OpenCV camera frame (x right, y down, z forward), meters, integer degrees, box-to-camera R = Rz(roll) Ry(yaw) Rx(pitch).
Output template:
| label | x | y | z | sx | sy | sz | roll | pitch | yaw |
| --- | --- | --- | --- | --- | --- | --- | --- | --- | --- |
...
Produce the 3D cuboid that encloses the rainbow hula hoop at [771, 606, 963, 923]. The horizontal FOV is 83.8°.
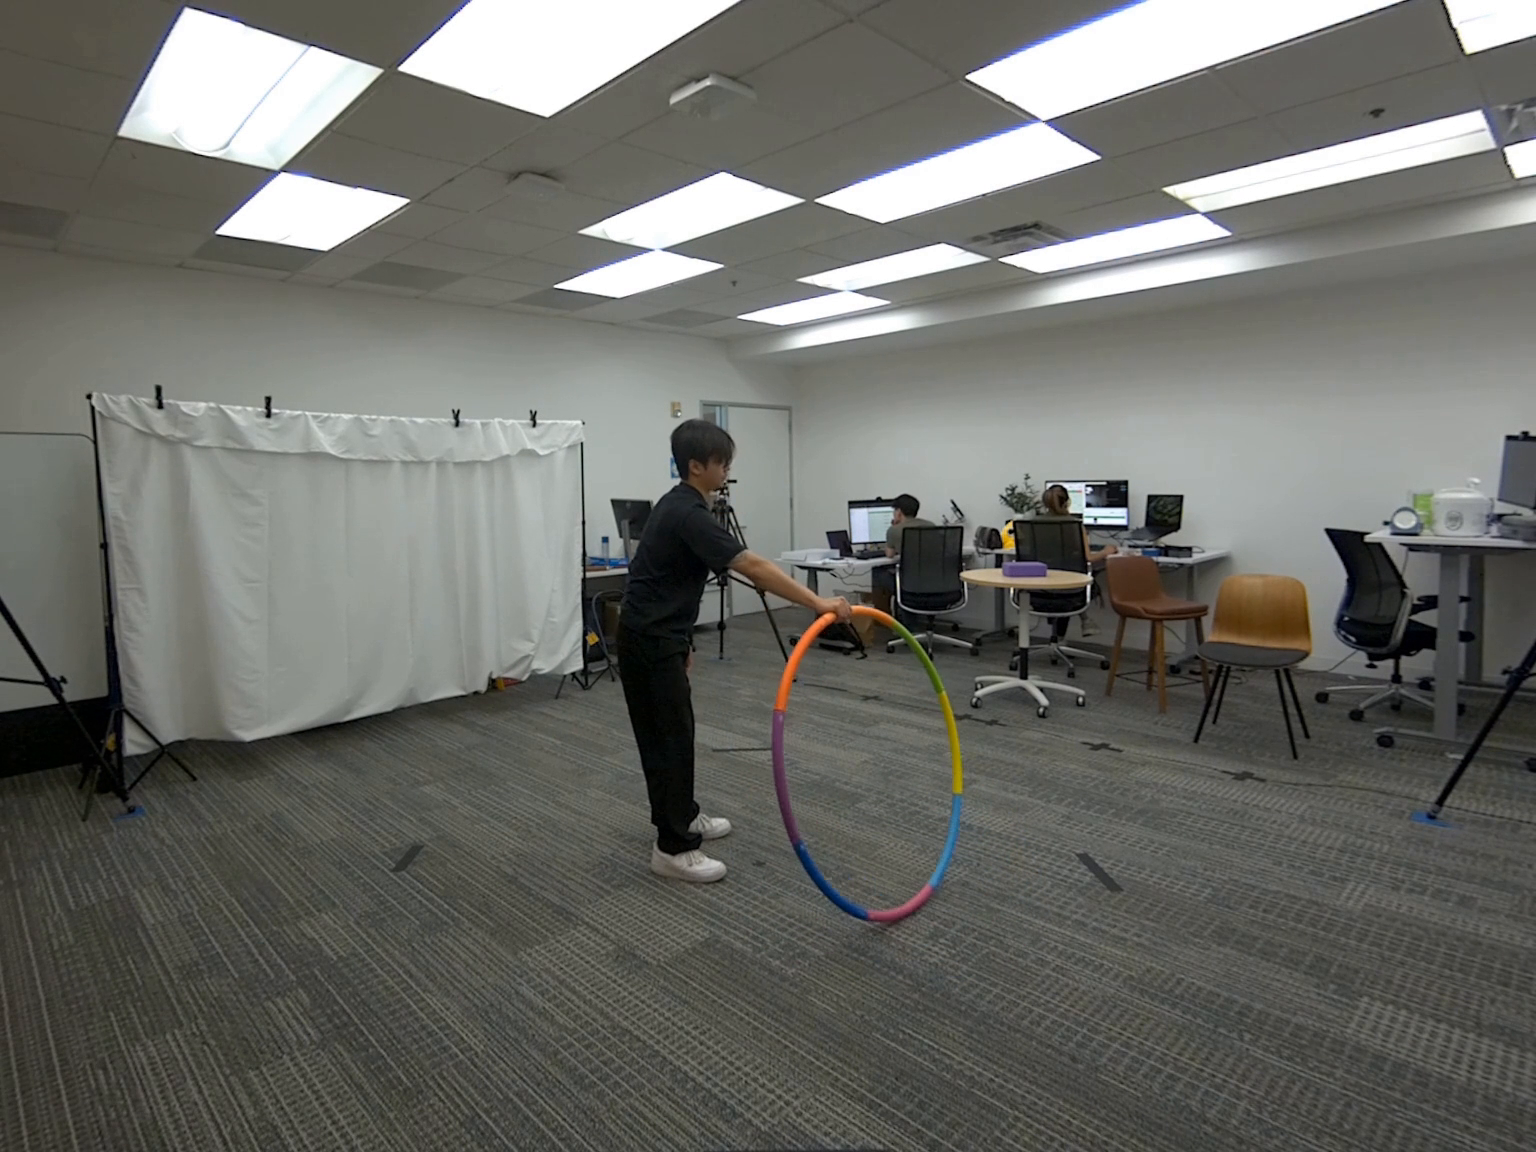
| label | x | y | z | sx | sy | sz | roll | pitch | yaw |
| --- | --- | --- | --- | --- | --- | --- | --- | --- | --- |
| rainbow hula hoop | 0.349 | 0.586 | 2.796 | 0.036 | 0.986 | 0.953 | -18 | -8 | 42 |
